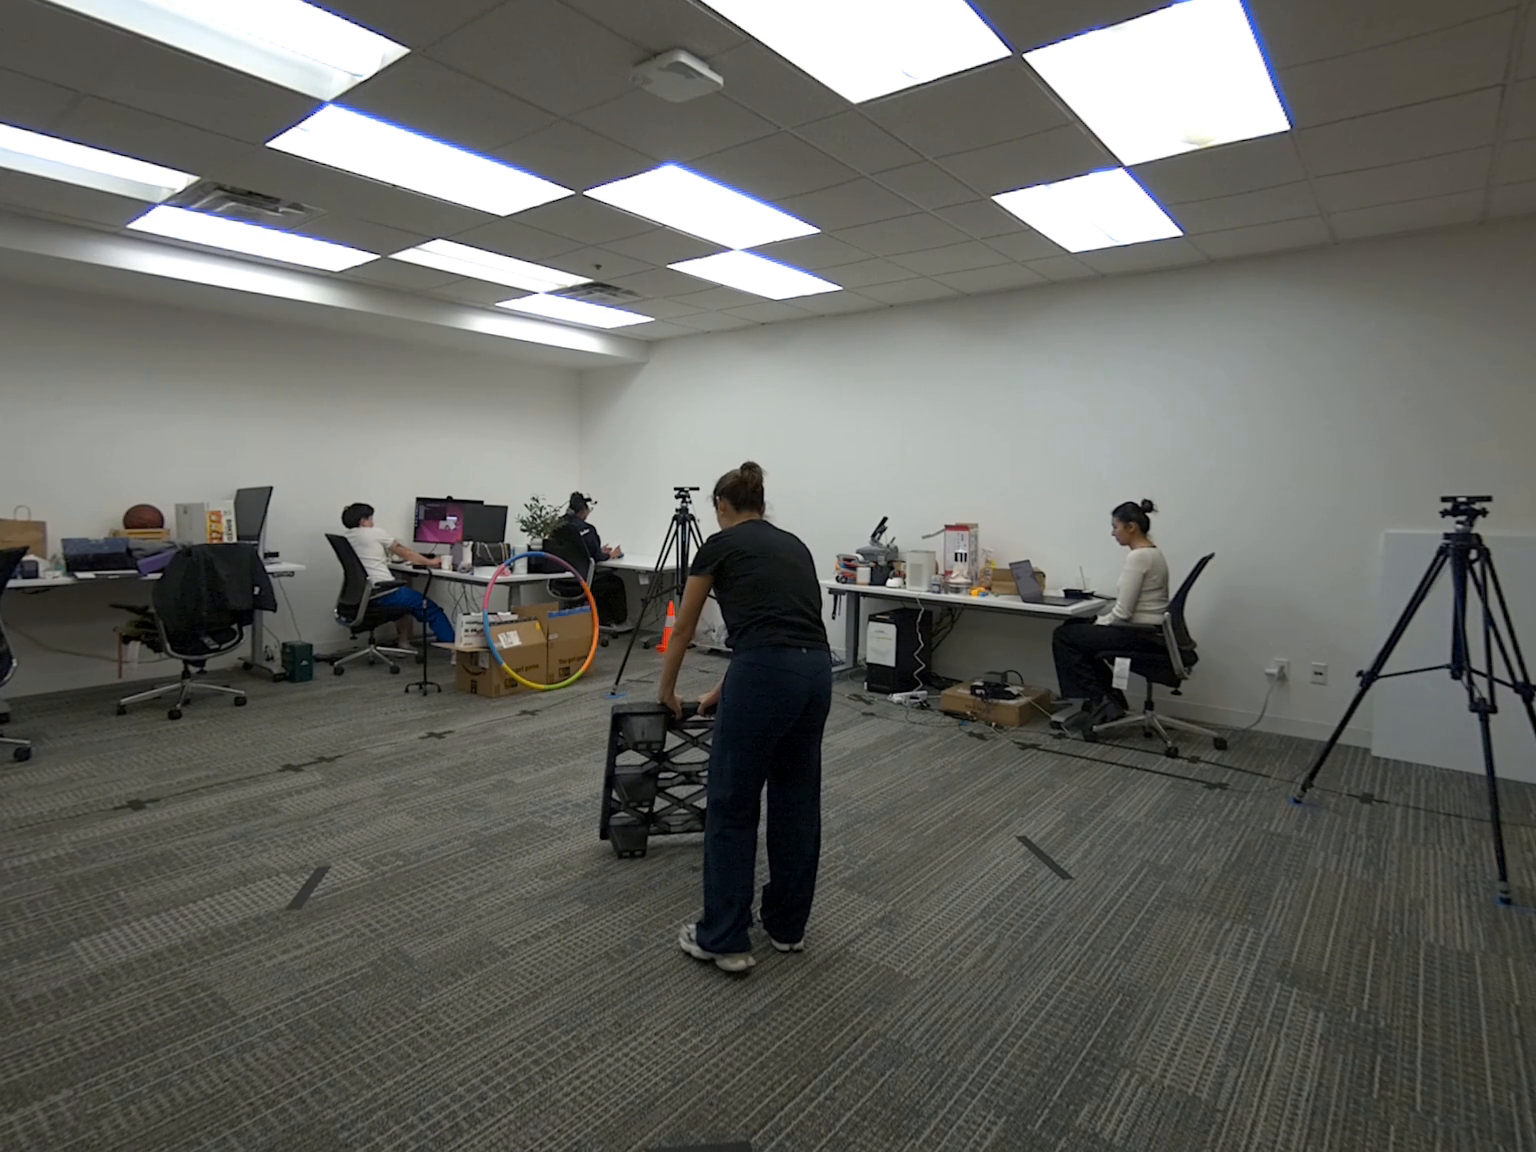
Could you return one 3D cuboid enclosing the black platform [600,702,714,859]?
[{"bbox_3d":[-0.271,0.742,3.061,0.597,0.788,0.148,0,42,-12],"label":"black platform"}]
